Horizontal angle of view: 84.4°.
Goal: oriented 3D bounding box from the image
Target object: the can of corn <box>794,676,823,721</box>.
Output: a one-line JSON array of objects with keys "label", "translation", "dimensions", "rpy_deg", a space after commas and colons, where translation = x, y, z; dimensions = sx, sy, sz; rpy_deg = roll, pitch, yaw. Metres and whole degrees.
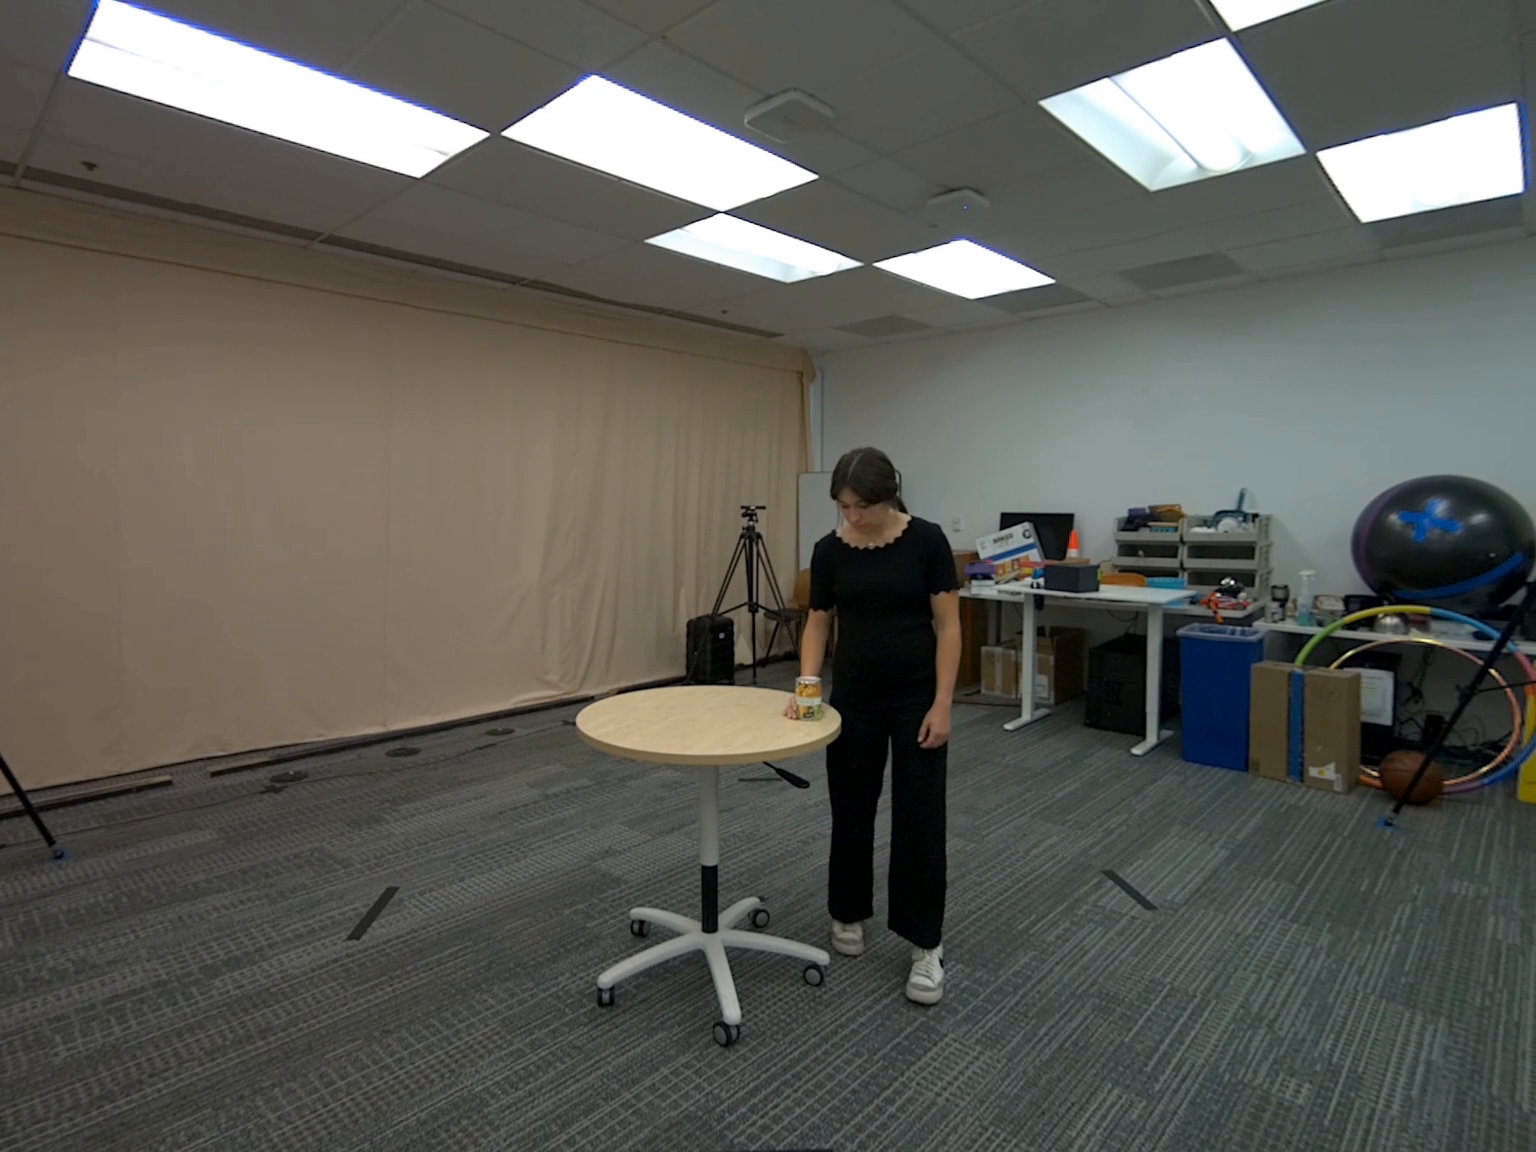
[{"label": "can of corn", "translation": [0.118, 0.351, 2.419], "dimensions": [0.074, 0.111, 0.074], "rpy_deg": [1, 4, -2]}]
